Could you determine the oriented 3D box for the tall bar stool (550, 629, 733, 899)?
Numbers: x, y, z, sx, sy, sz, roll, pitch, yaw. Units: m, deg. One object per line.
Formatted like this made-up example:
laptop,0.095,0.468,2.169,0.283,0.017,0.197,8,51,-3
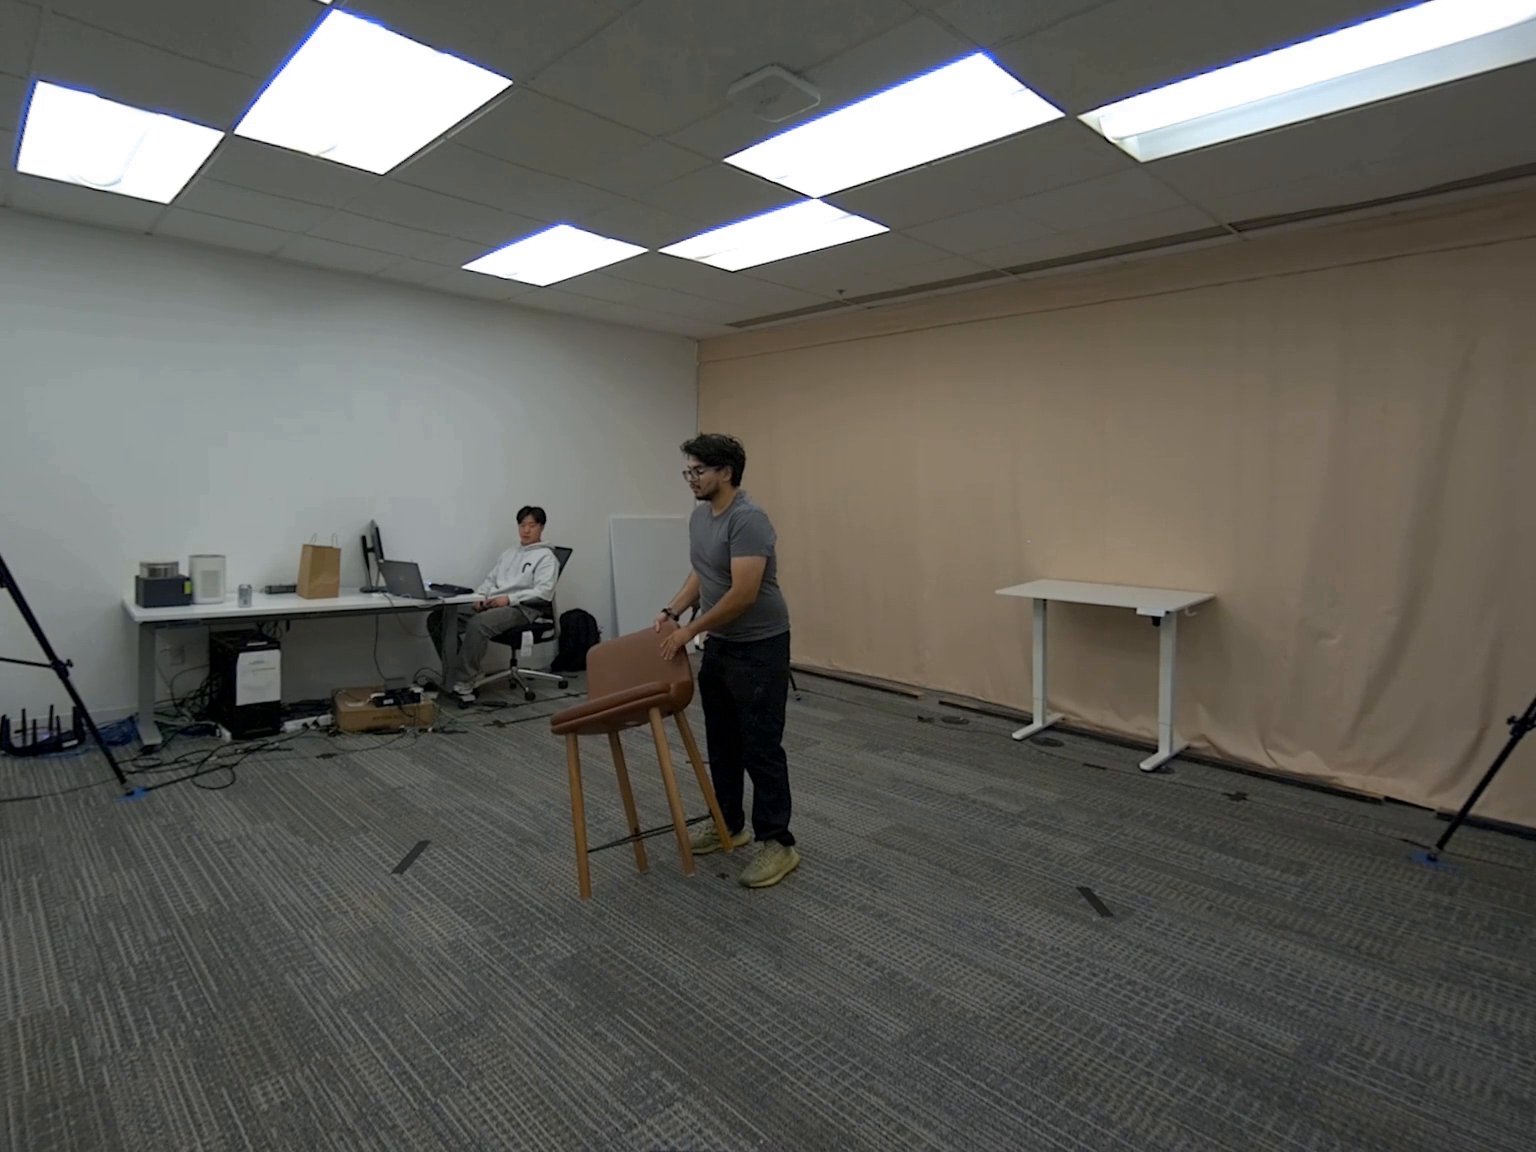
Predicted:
tall bar stool,-0.471,0.611,2.978,0.459,0.903,0.458,-19,-16,13
